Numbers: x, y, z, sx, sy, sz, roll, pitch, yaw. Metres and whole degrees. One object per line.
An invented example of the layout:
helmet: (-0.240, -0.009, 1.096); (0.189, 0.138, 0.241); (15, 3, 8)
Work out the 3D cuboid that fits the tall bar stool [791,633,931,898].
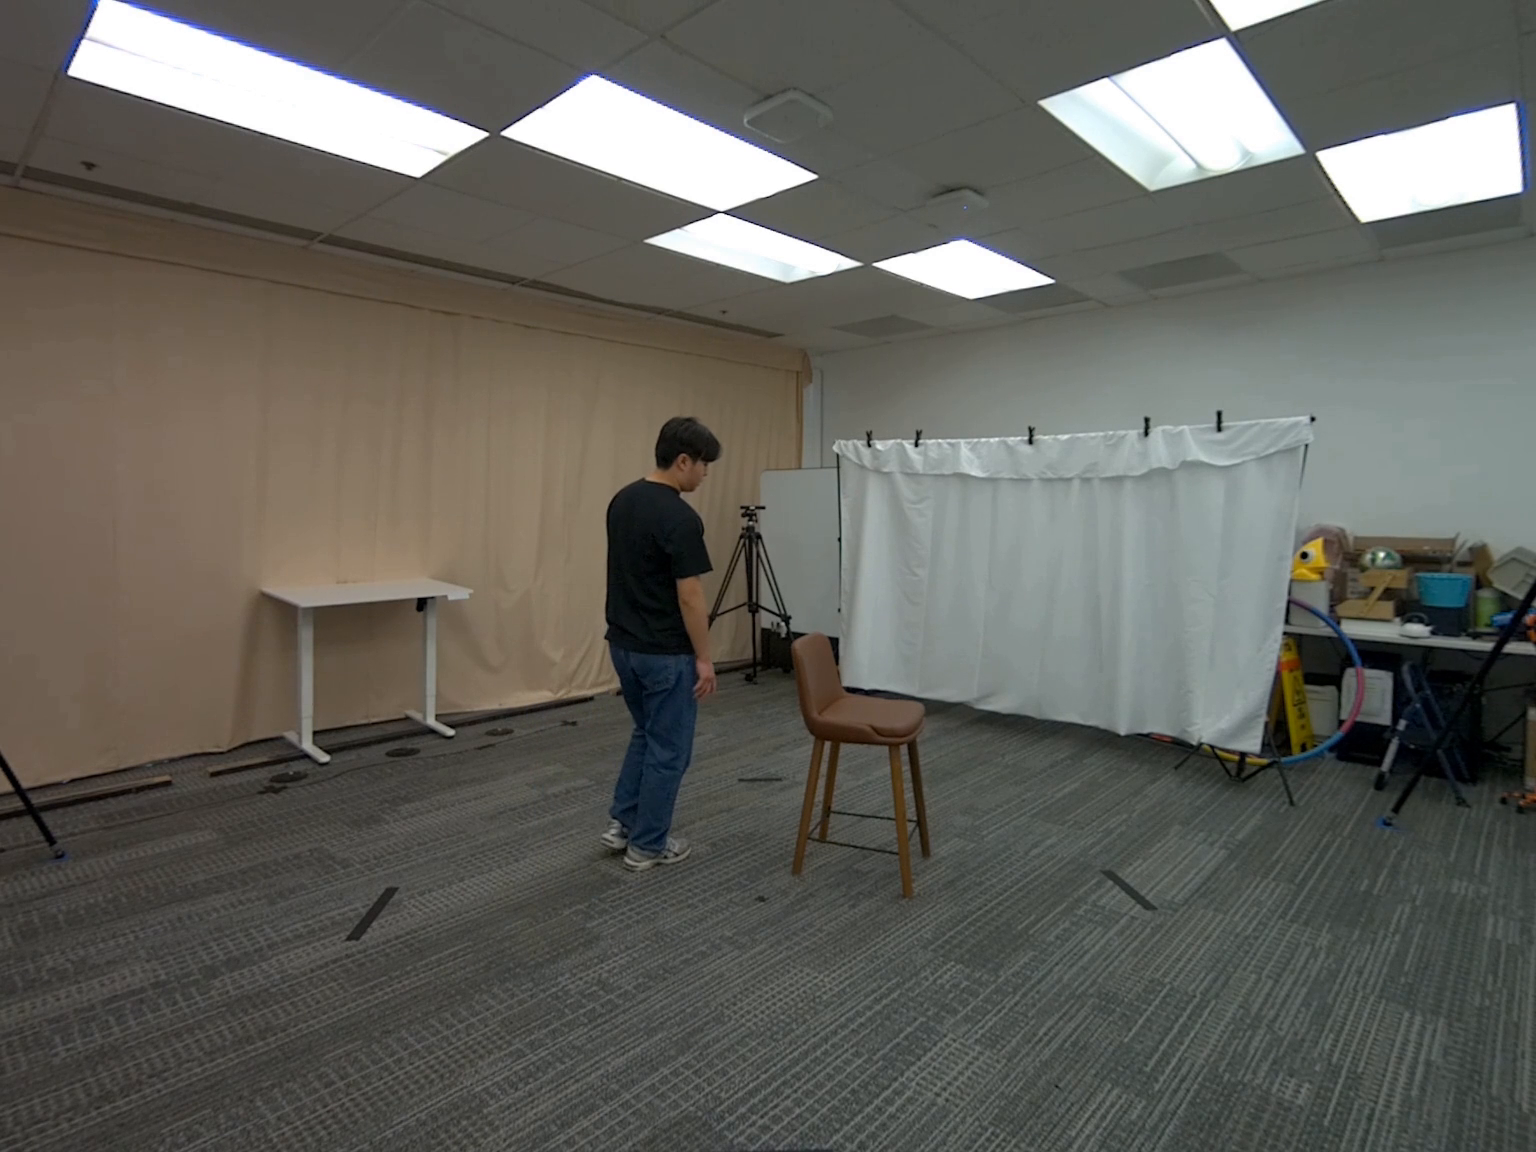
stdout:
tall bar stool: (0.362, 0.685, 3.232); (0.479, 0.889, 0.446); (-1, 2, 23)
